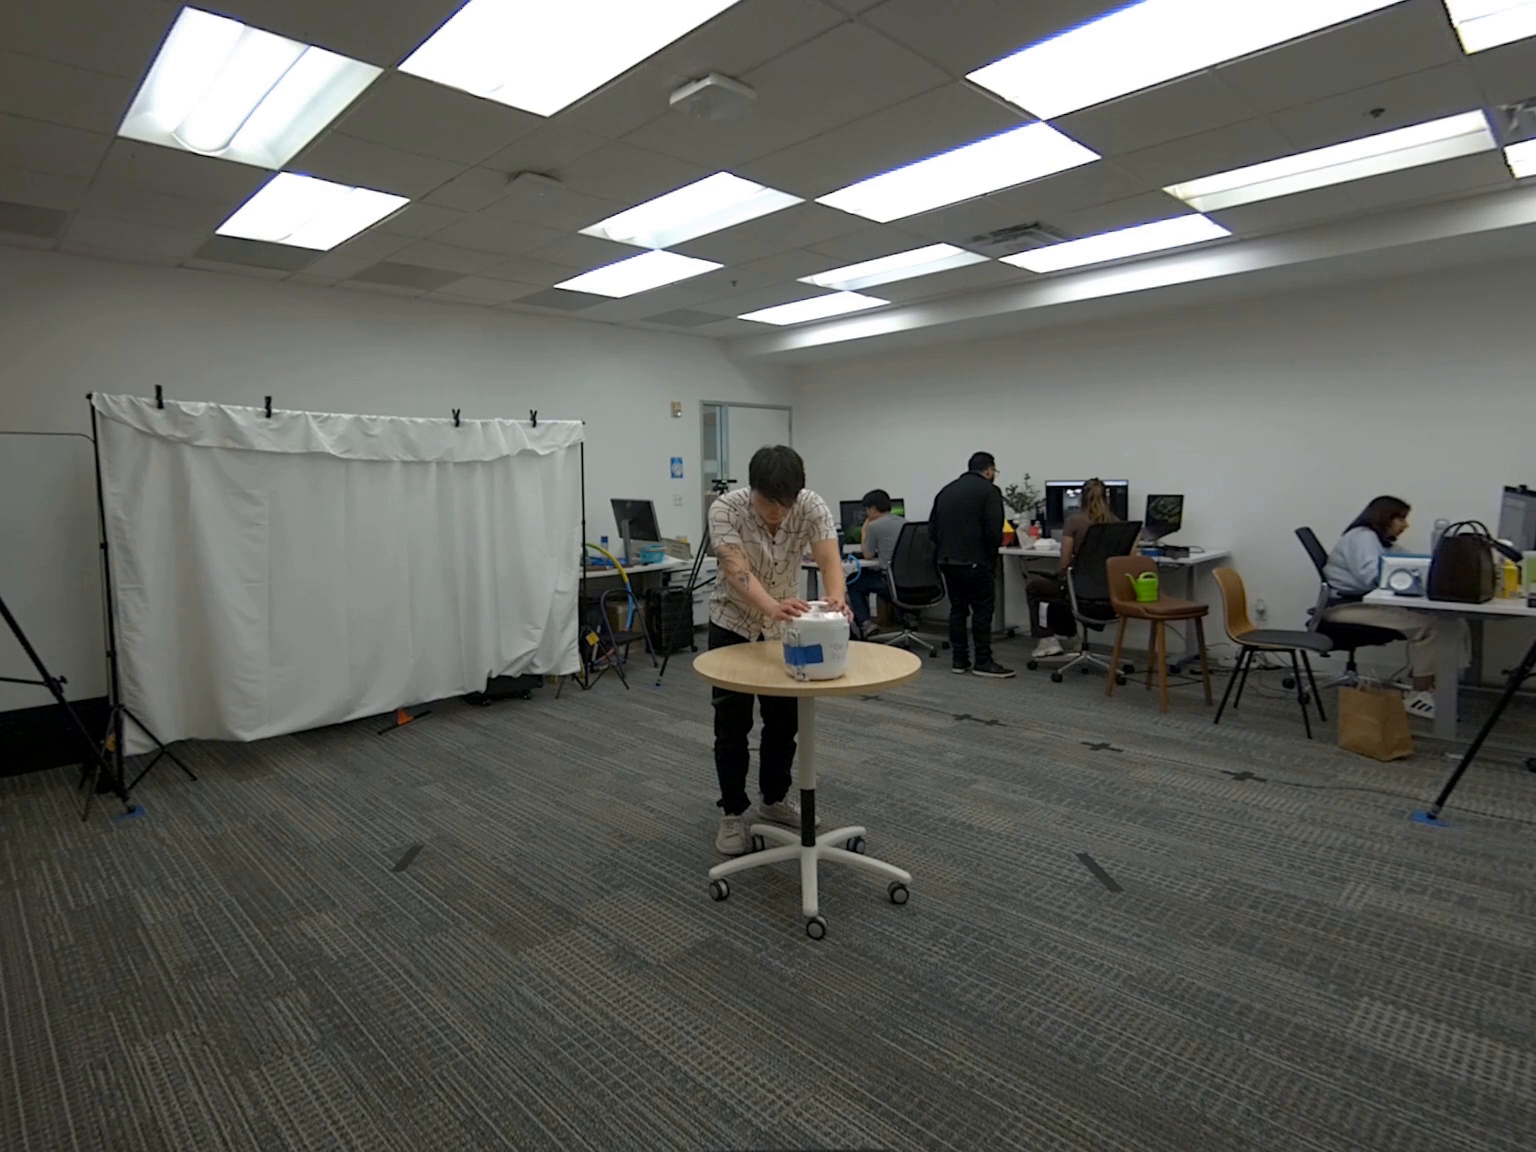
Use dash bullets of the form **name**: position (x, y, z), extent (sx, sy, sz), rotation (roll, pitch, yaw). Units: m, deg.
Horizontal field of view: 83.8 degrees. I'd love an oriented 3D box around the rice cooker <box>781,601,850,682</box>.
- **rice cooker**: position (0.145, 0.197, 2.681), extent (0.219, 0.231, 0.220), rotation (-2, 7, -8)
